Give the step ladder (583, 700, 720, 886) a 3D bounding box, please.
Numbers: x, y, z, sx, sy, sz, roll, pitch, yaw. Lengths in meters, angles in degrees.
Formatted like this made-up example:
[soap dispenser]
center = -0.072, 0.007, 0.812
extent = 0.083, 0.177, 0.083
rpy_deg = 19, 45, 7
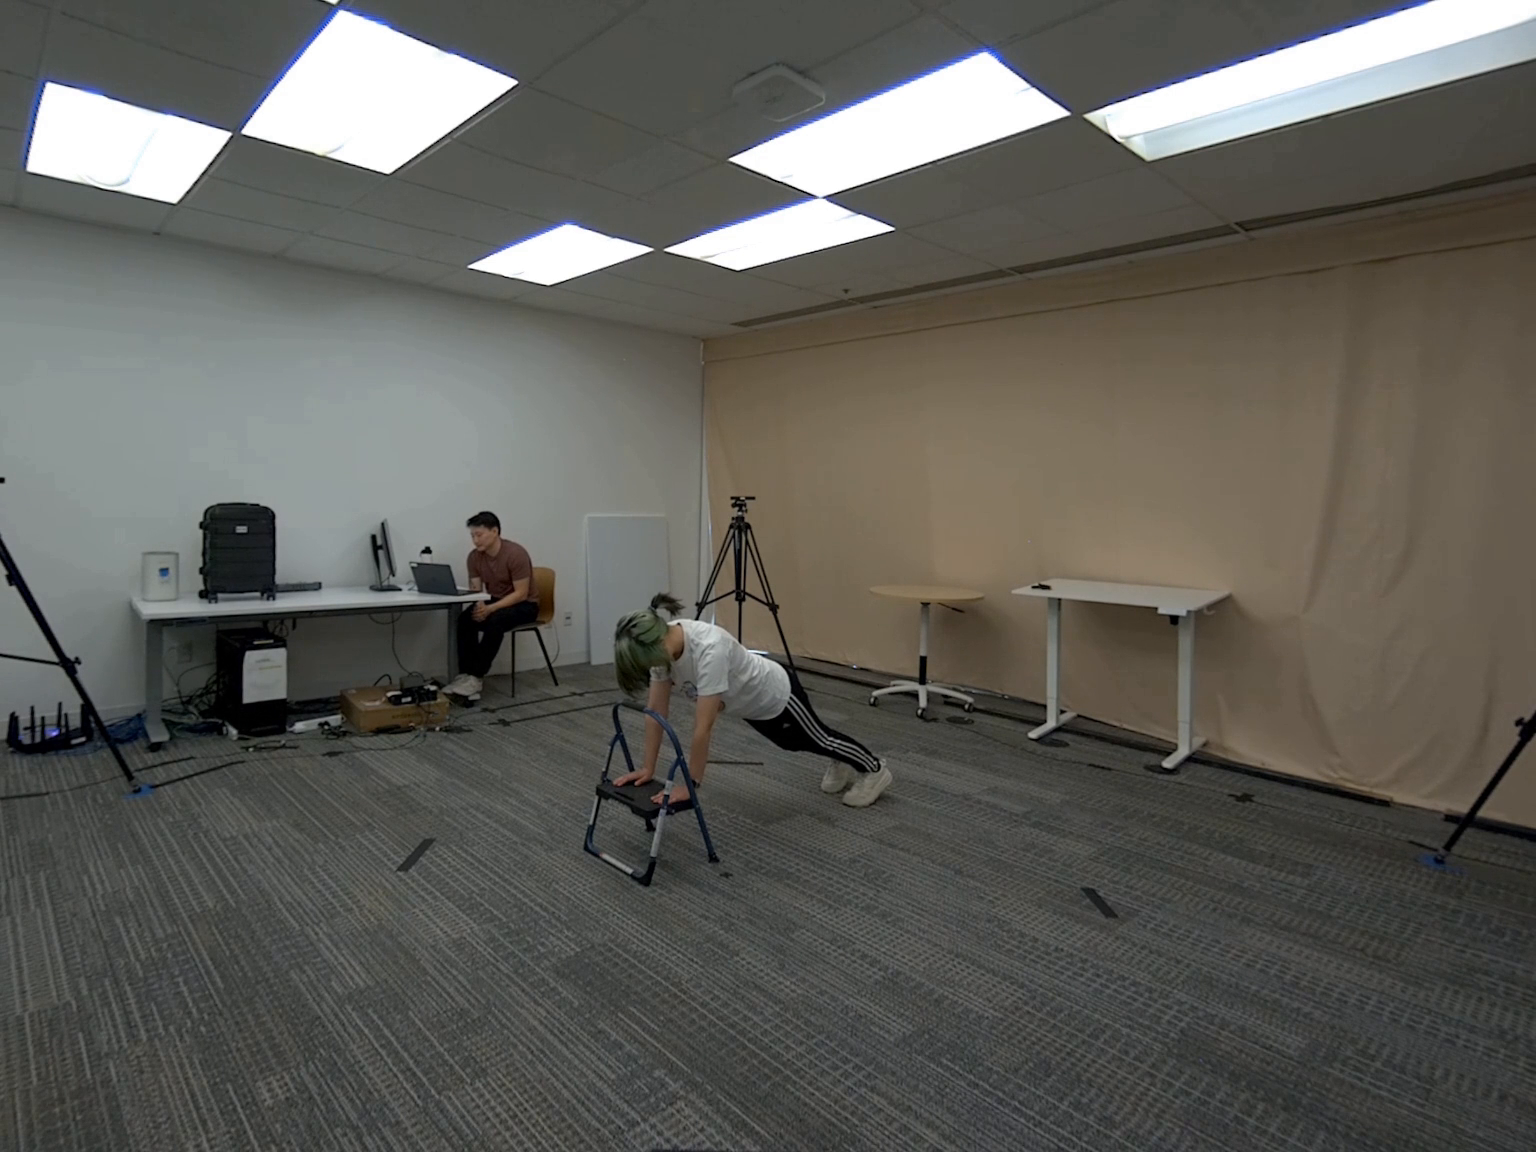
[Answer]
[step ladder]
center = -0.458, 0.784, 3.241
extent = 0.341, 0.604, 0.442
rpy_deg = -2, 5, -44
